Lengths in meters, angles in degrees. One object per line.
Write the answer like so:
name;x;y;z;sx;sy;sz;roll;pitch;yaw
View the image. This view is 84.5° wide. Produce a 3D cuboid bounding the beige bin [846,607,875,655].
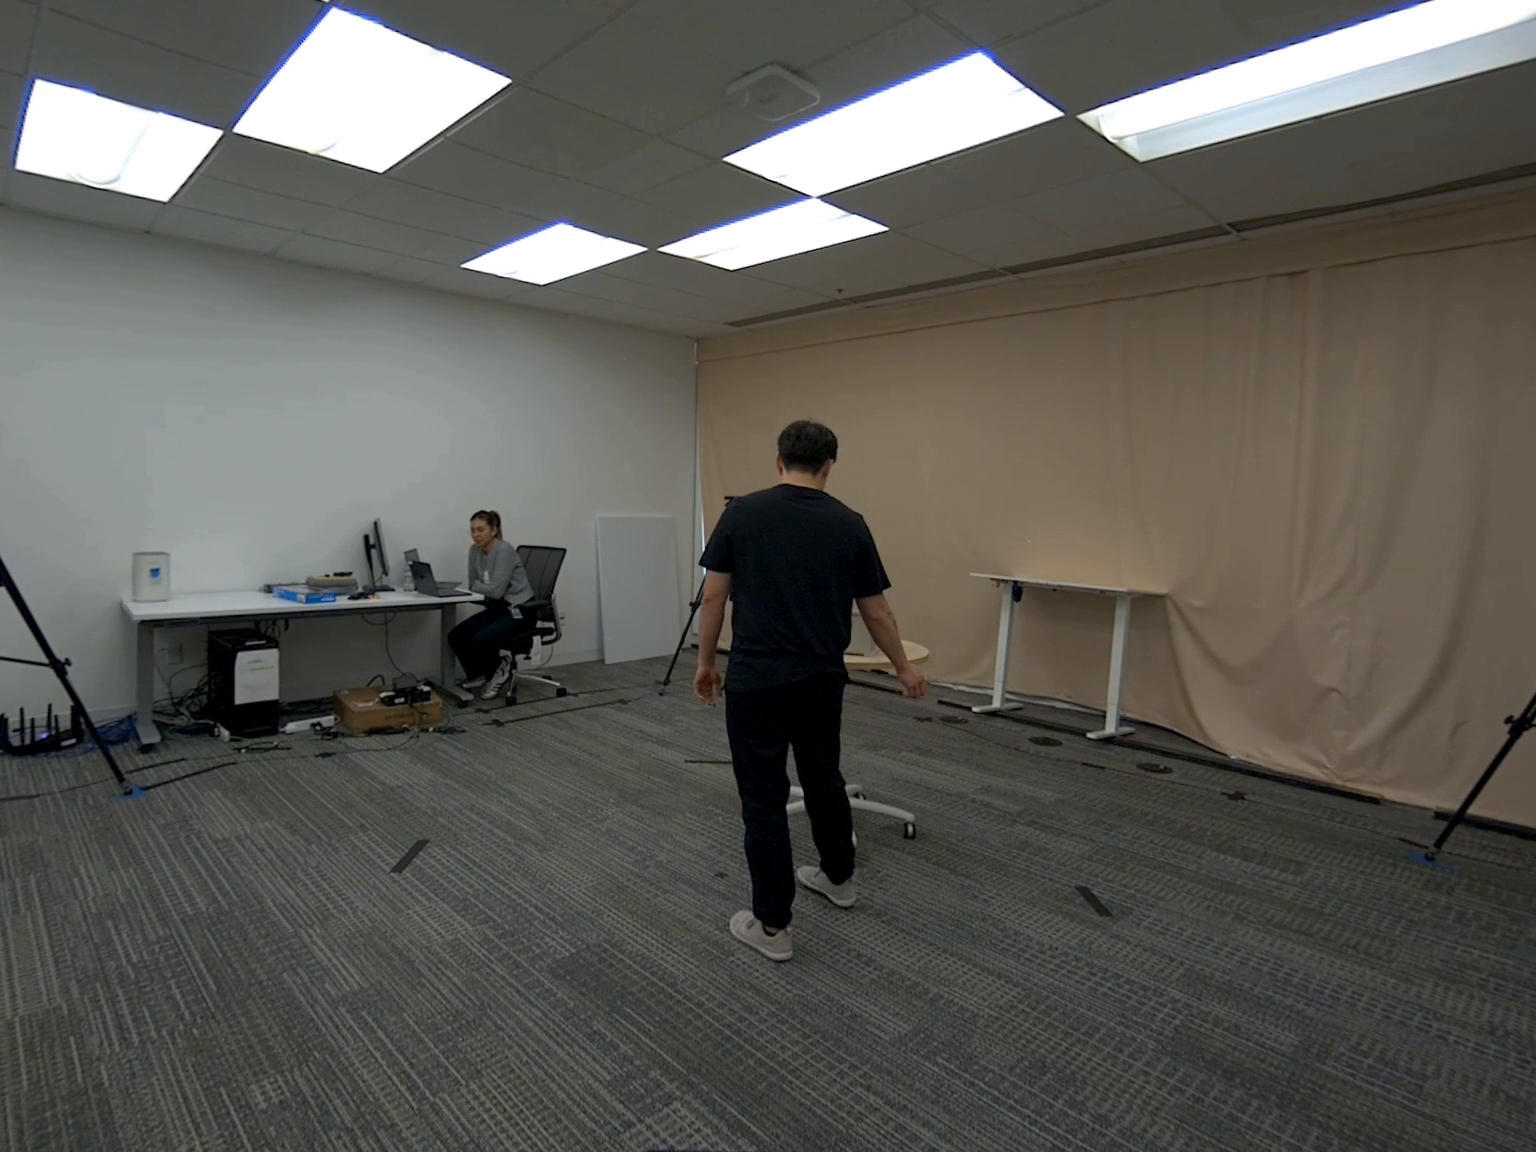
beige bin;0.259;0.210;3.514;0.428;0.188;0.373;3;5;16
